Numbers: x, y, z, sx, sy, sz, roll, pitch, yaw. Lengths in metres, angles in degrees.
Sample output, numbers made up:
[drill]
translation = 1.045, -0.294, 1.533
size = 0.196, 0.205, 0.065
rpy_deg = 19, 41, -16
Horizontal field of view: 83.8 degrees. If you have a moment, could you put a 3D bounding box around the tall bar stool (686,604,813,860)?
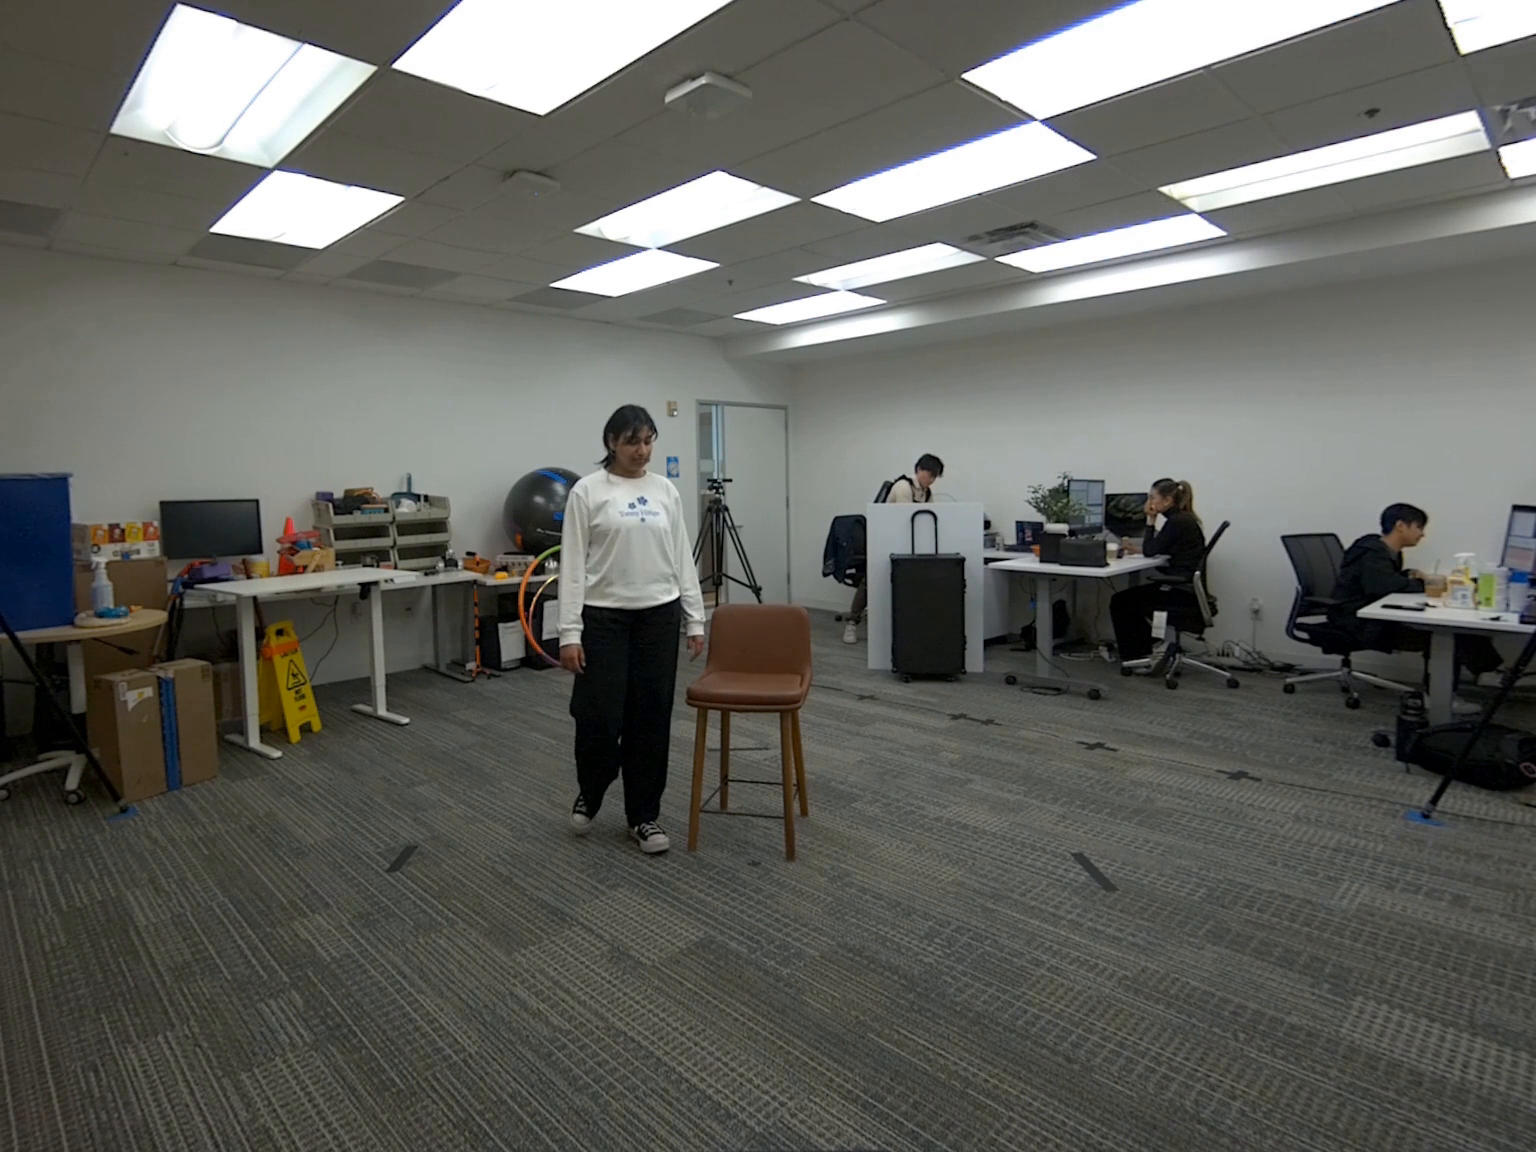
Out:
[tall bar stool]
translation = -0.065, 0.581, 3.366
size = 0.463, 0.888, 0.462
rpy_deg = 0, 3, 13
